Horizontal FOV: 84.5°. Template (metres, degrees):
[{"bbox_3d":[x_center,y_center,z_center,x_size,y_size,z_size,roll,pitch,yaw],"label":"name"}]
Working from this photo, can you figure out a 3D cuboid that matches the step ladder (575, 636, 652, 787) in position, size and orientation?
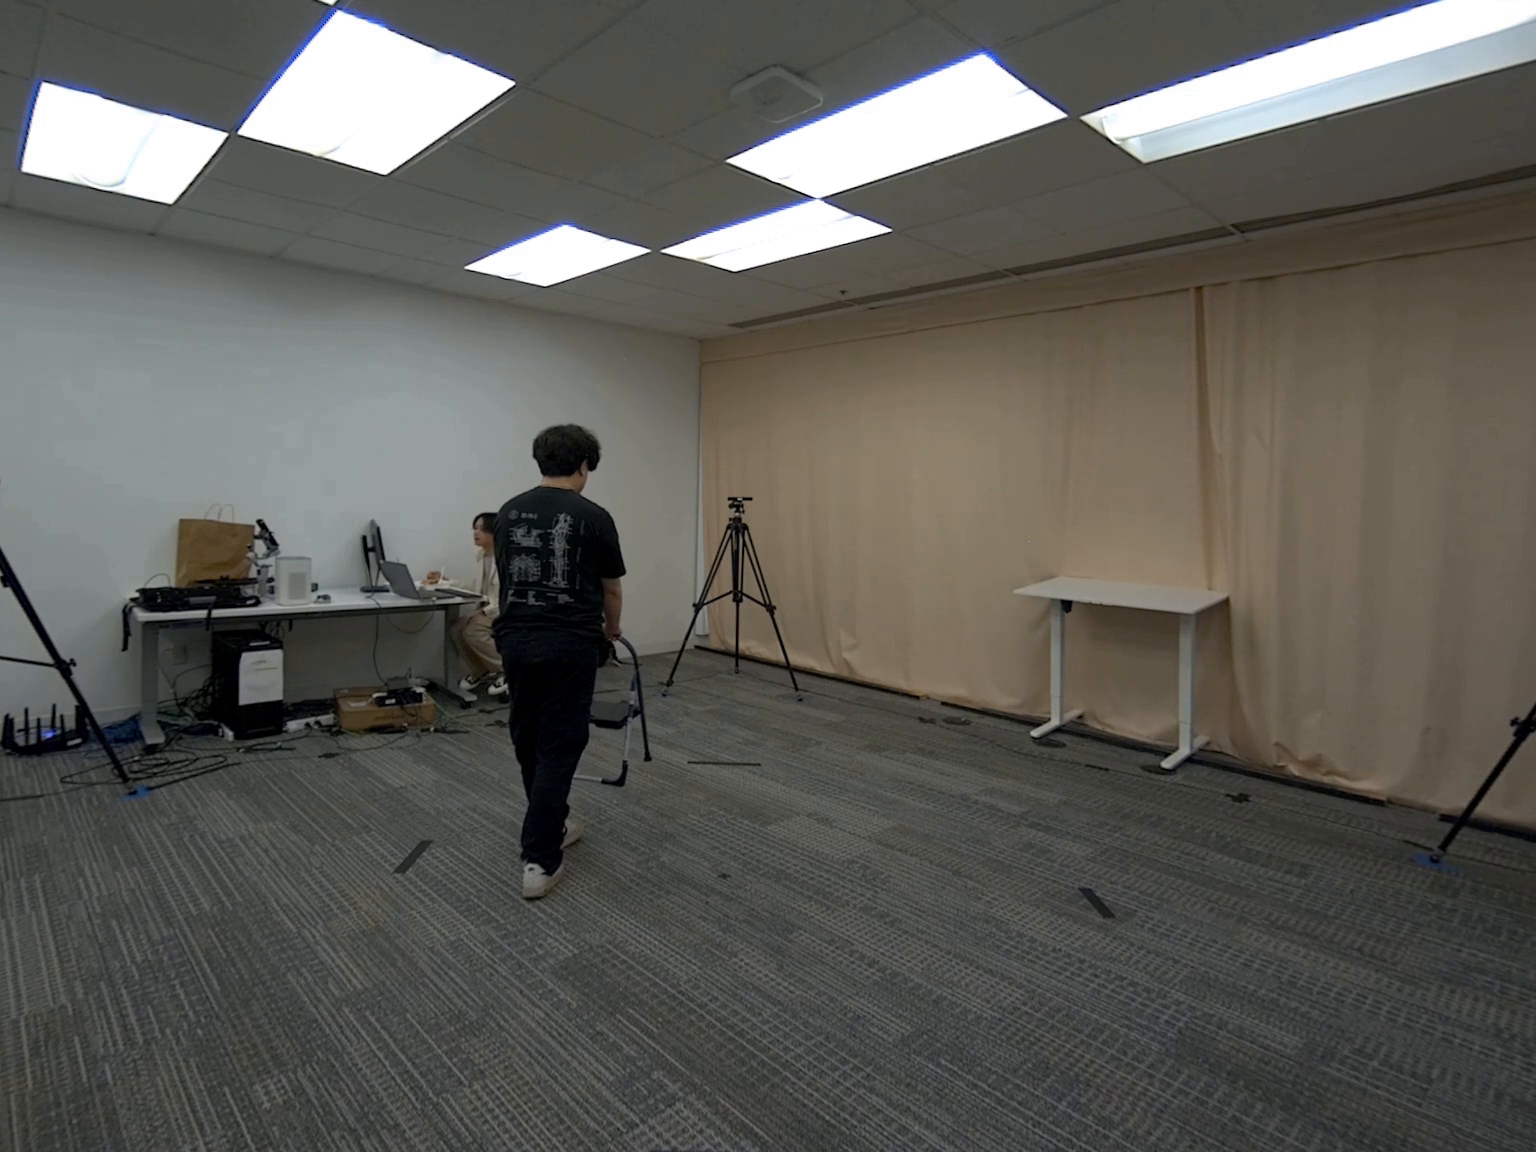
[{"bbox_3d":[-0.745,0.512,3.506,0.435,0.603,0.347,2,7,11],"label":"step ladder"}]
